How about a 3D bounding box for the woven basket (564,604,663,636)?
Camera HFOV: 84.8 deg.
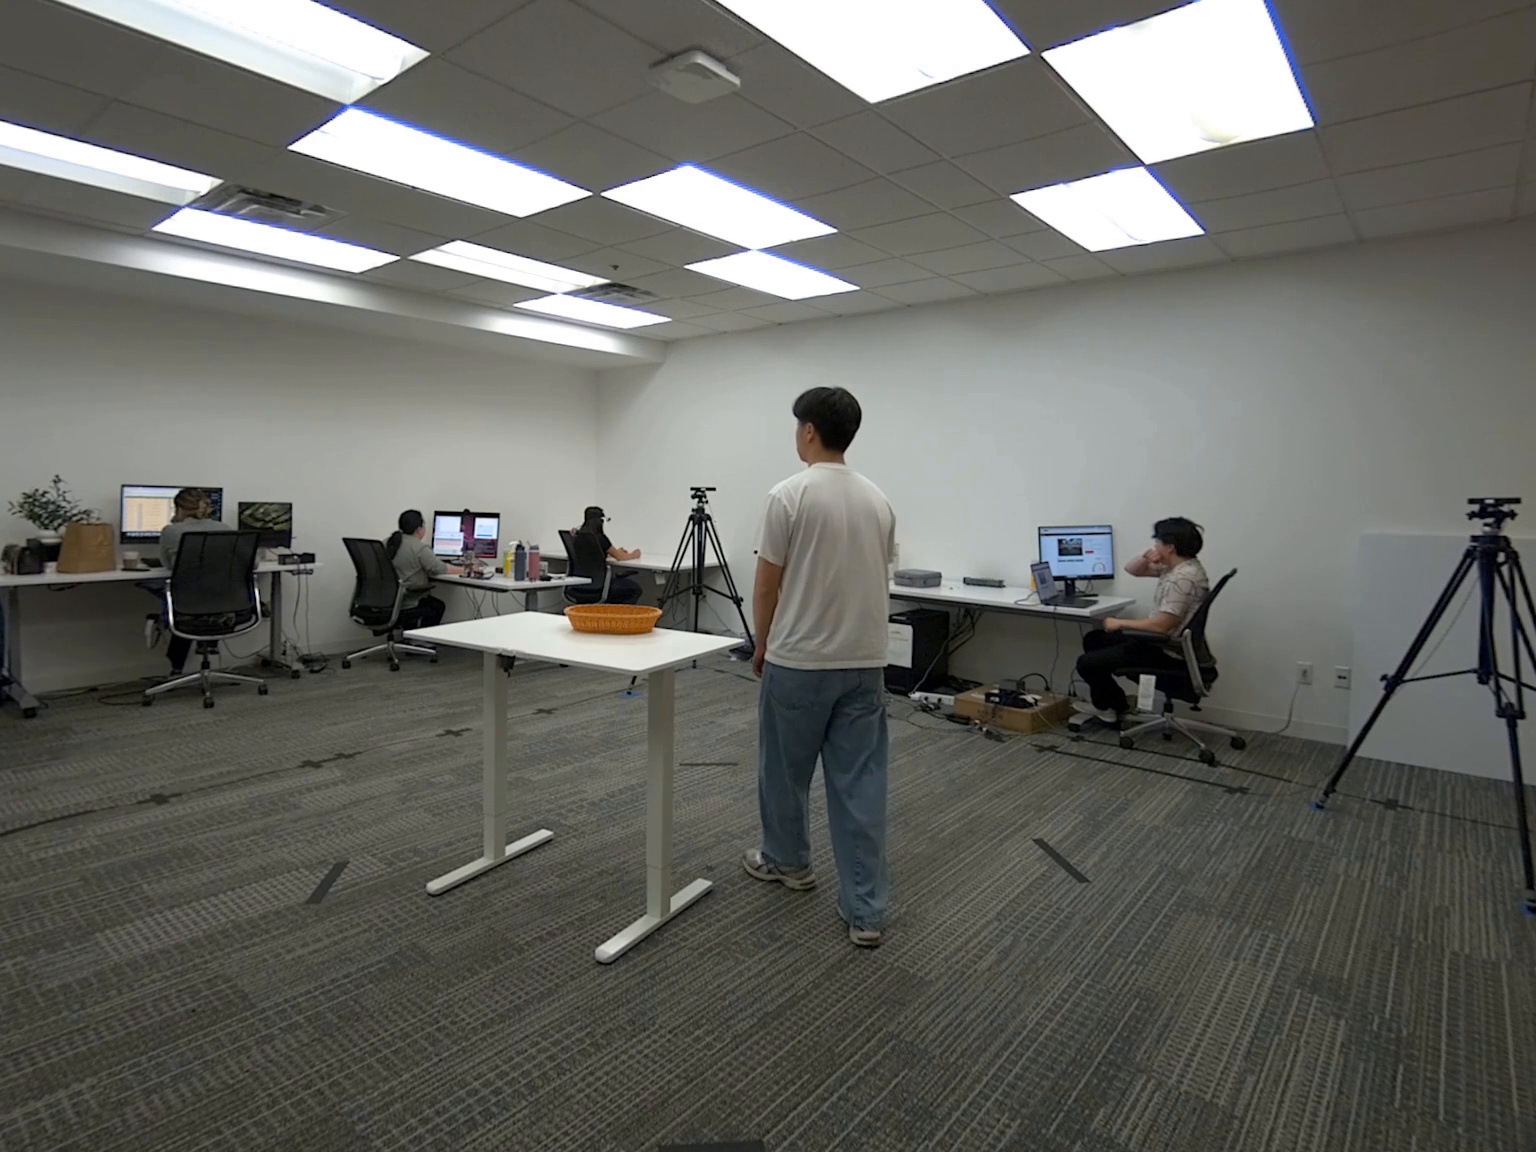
[{"bbox_3d":[-0.570,0.159,3.002,0.355,0.073,0.250,3,6,12],"label":"woven basket"}]
